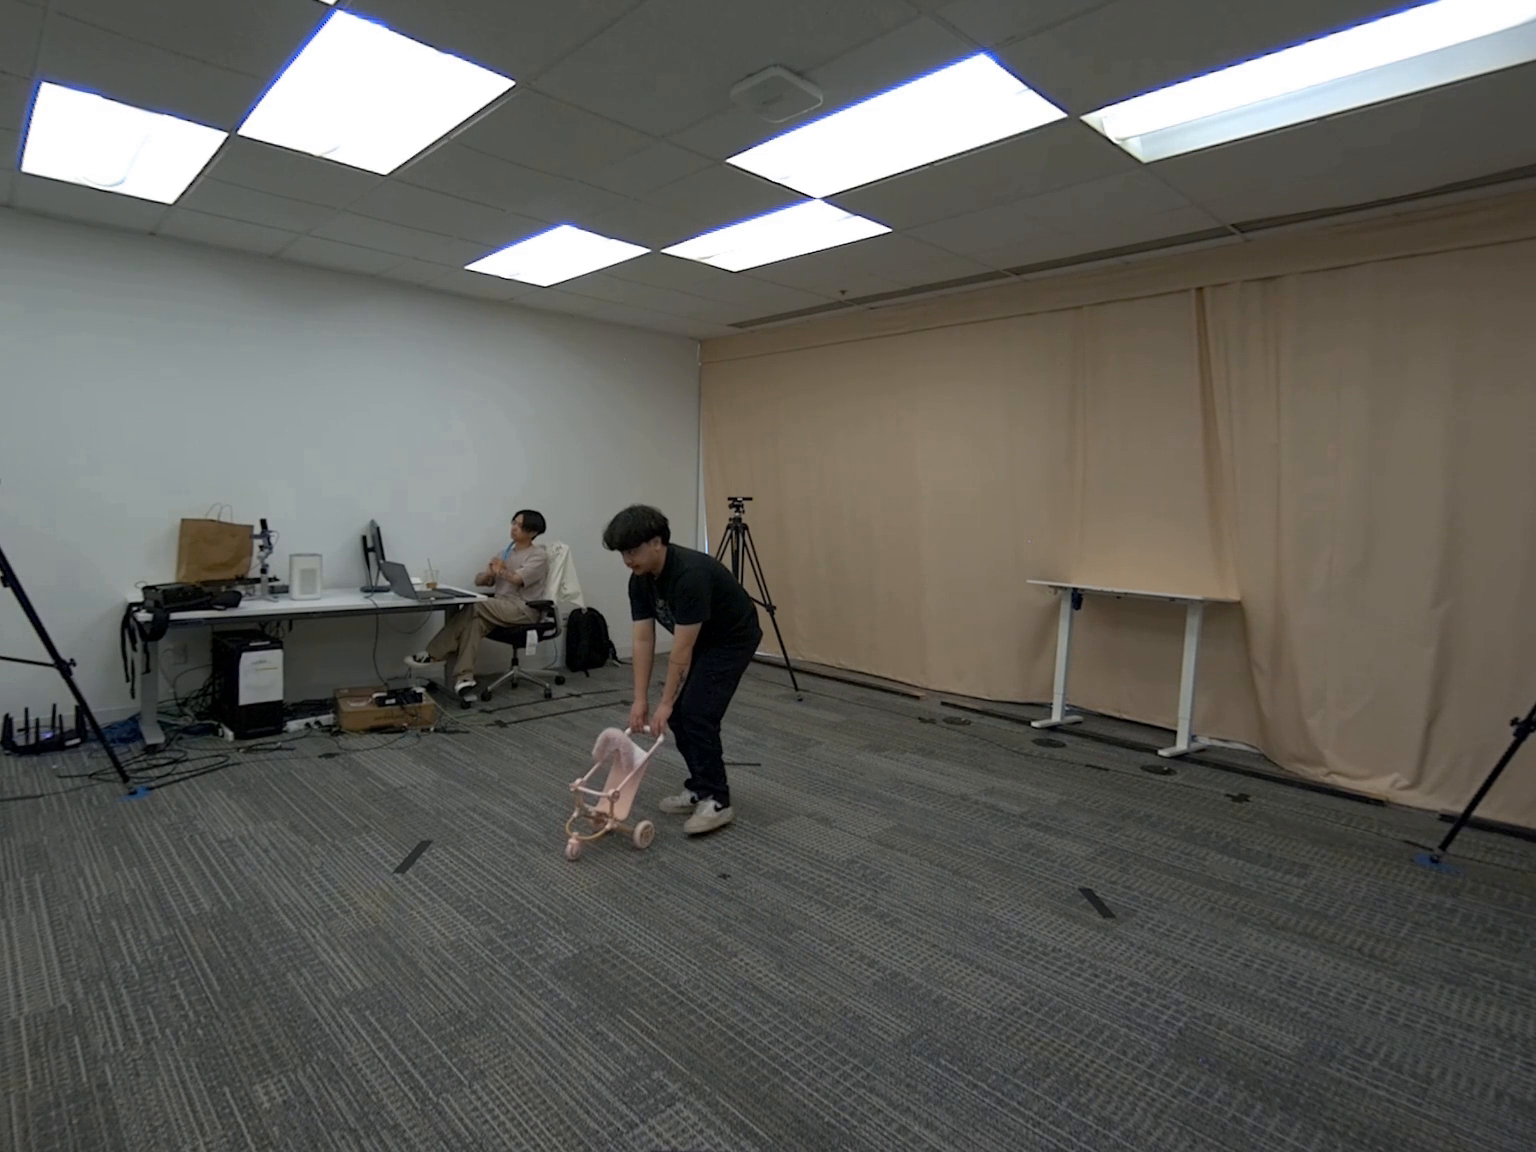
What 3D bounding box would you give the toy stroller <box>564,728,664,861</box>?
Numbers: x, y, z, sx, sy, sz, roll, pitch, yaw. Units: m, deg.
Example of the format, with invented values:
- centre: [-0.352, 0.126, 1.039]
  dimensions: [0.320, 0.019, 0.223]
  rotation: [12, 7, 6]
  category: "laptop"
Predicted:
- centre: [-0.636, 0.851, 3.351]
  dimensions: [0.288, 0.538, 0.331]
  rotation: [4, -12, 41]
  category: "toy stroller"
